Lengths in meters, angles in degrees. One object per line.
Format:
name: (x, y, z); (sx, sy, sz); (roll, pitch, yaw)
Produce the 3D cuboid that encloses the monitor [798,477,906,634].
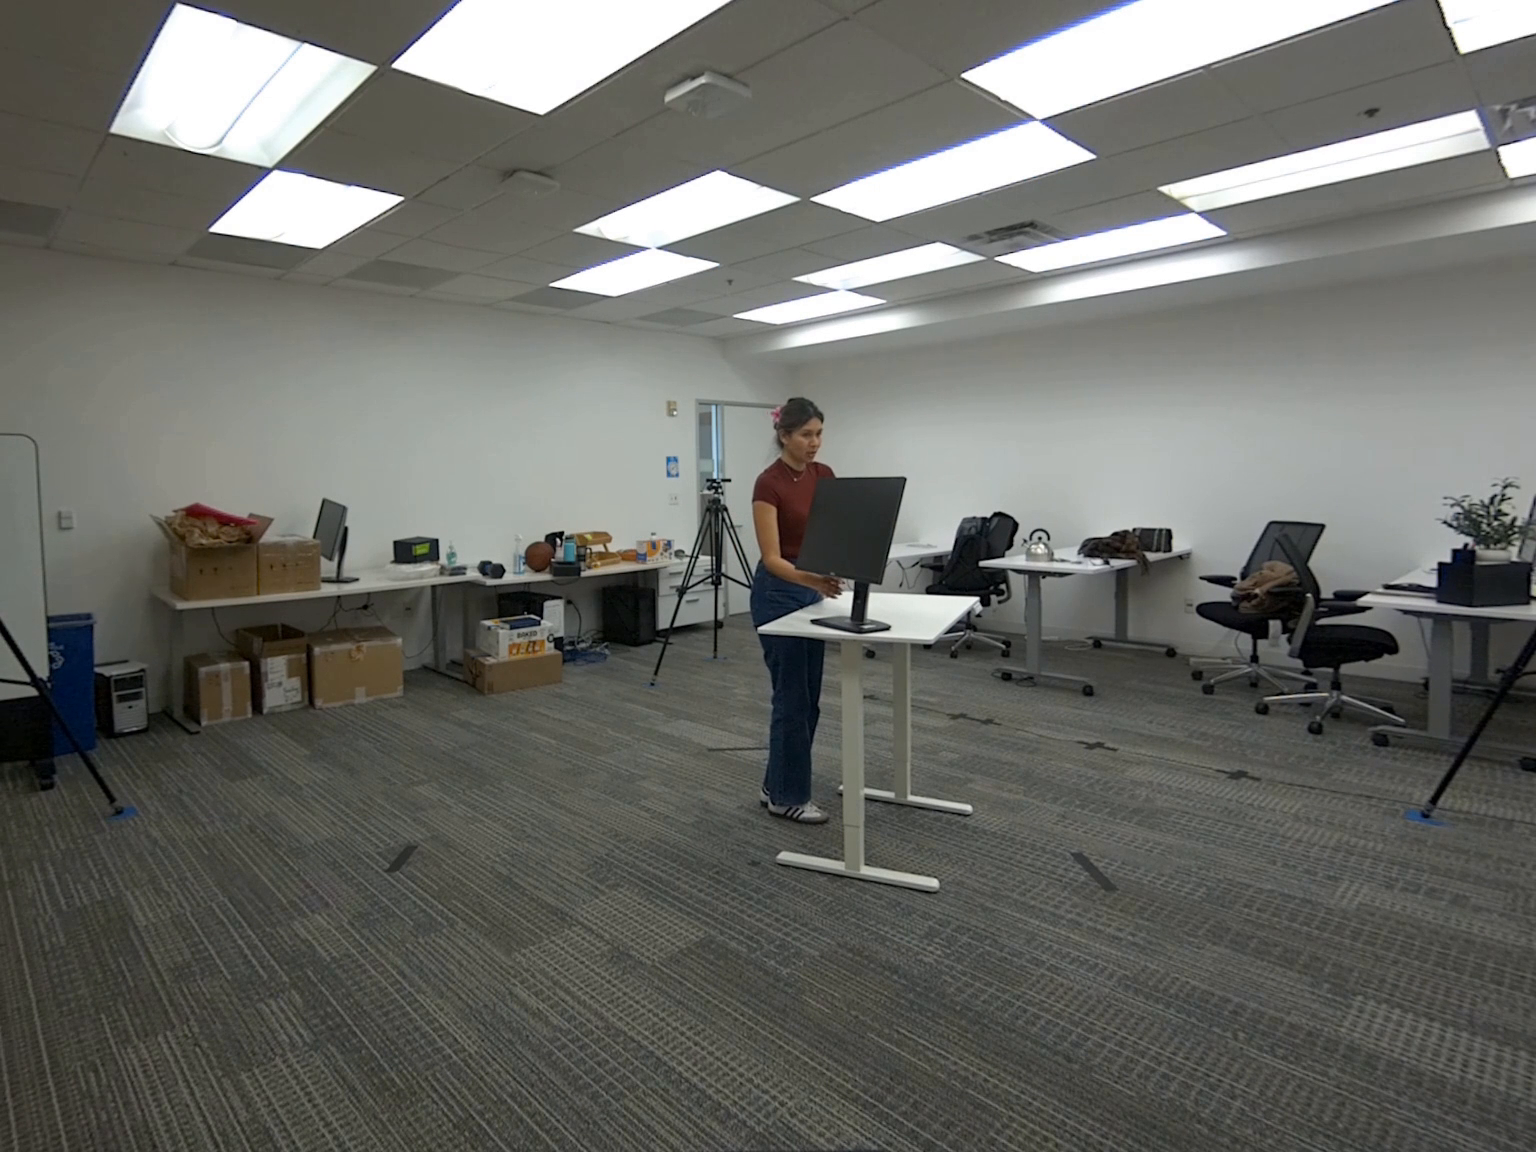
monitor: (0.291, -0.078, 2.950); (0.183, 0.521, 0.553); (1, 4, -28)
